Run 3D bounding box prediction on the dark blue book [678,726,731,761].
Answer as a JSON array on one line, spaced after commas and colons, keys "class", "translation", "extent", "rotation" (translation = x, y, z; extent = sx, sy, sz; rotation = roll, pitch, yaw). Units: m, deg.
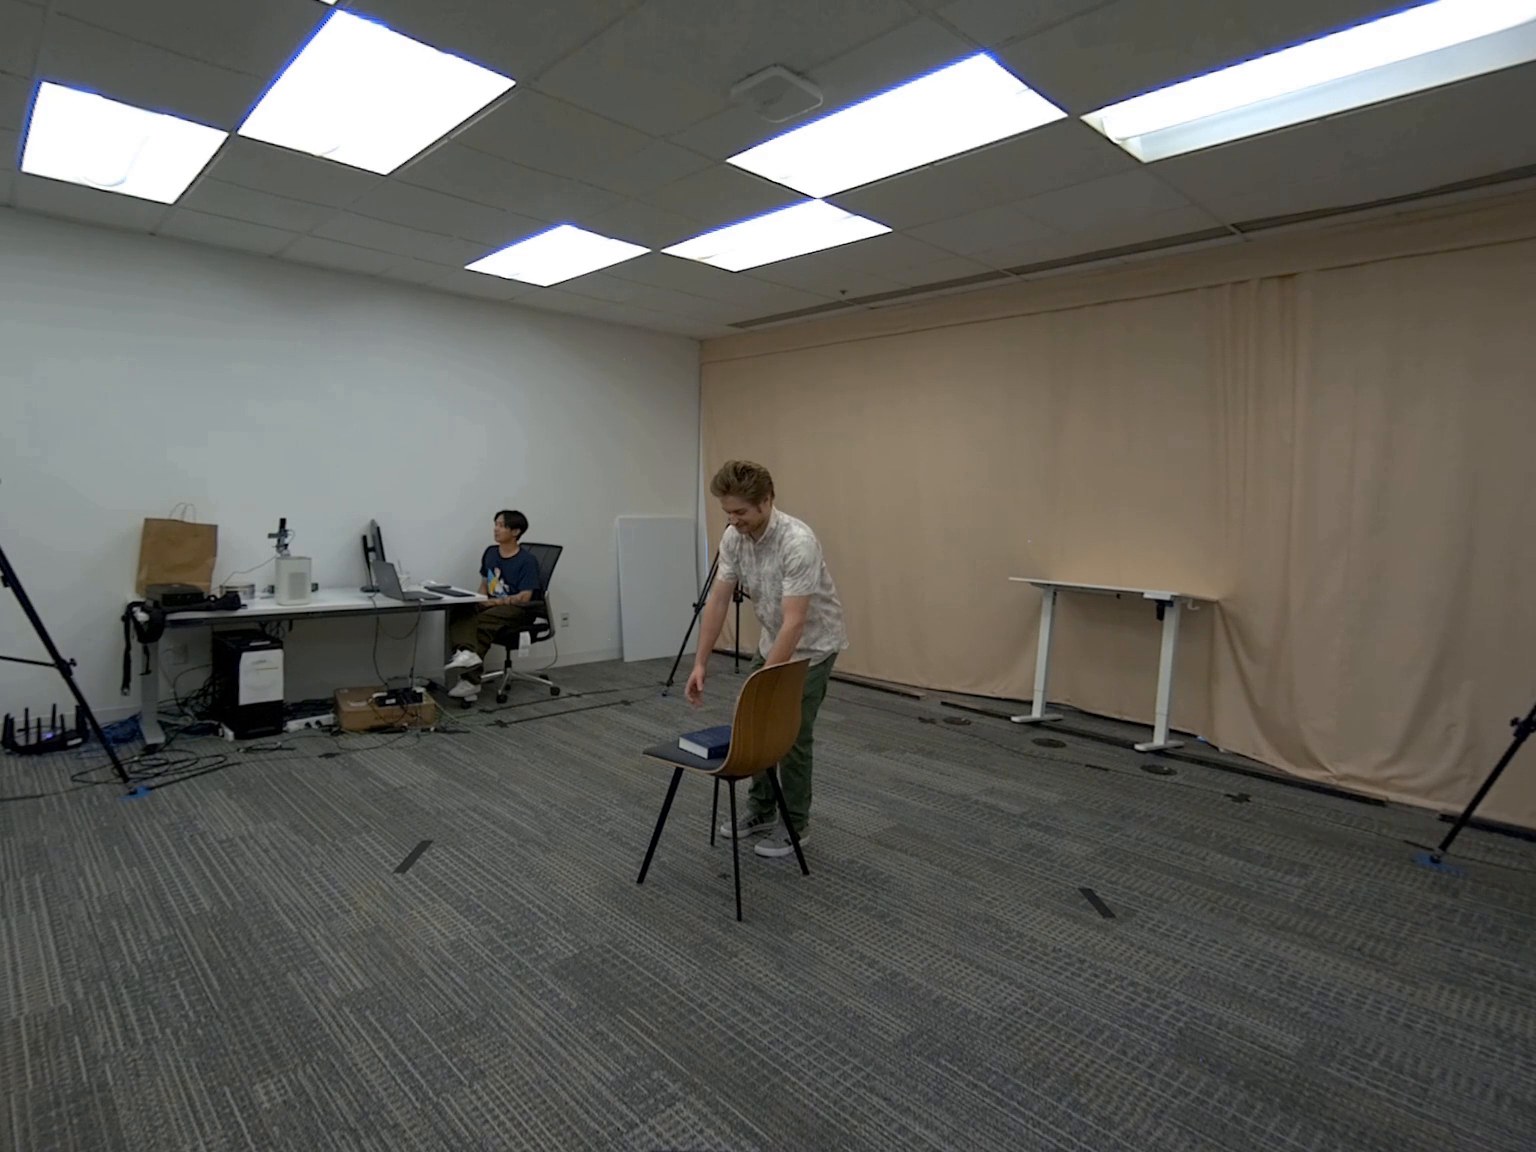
[{"class": "dark blue book", "translation": [-0.186, 0.602, 3.067], "extent": [0.168, 0.045, 0.239], "rotation": [10, 9, 43]}]
